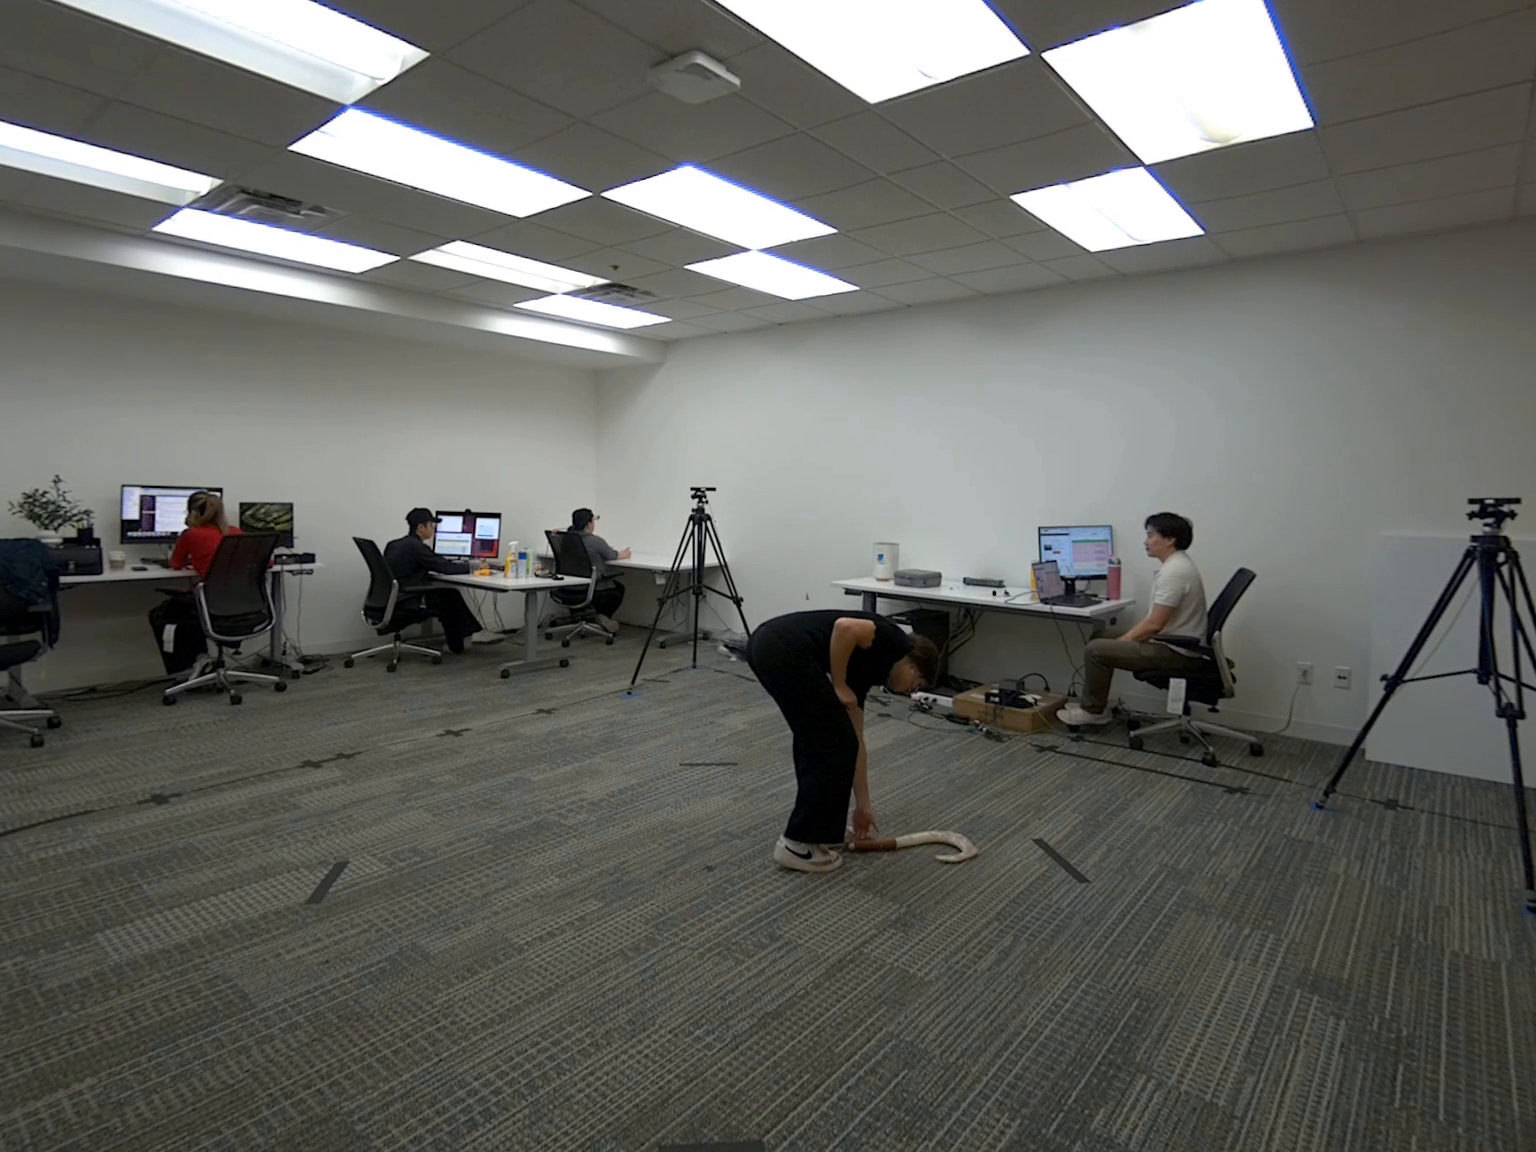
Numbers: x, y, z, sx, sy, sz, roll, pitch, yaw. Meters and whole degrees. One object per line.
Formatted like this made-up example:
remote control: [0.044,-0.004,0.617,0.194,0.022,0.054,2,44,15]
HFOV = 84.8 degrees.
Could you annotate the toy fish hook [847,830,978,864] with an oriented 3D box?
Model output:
toy fish hook: [0.546,1.041,3.278,0.500,0.048,0.228,0,4,-12]
